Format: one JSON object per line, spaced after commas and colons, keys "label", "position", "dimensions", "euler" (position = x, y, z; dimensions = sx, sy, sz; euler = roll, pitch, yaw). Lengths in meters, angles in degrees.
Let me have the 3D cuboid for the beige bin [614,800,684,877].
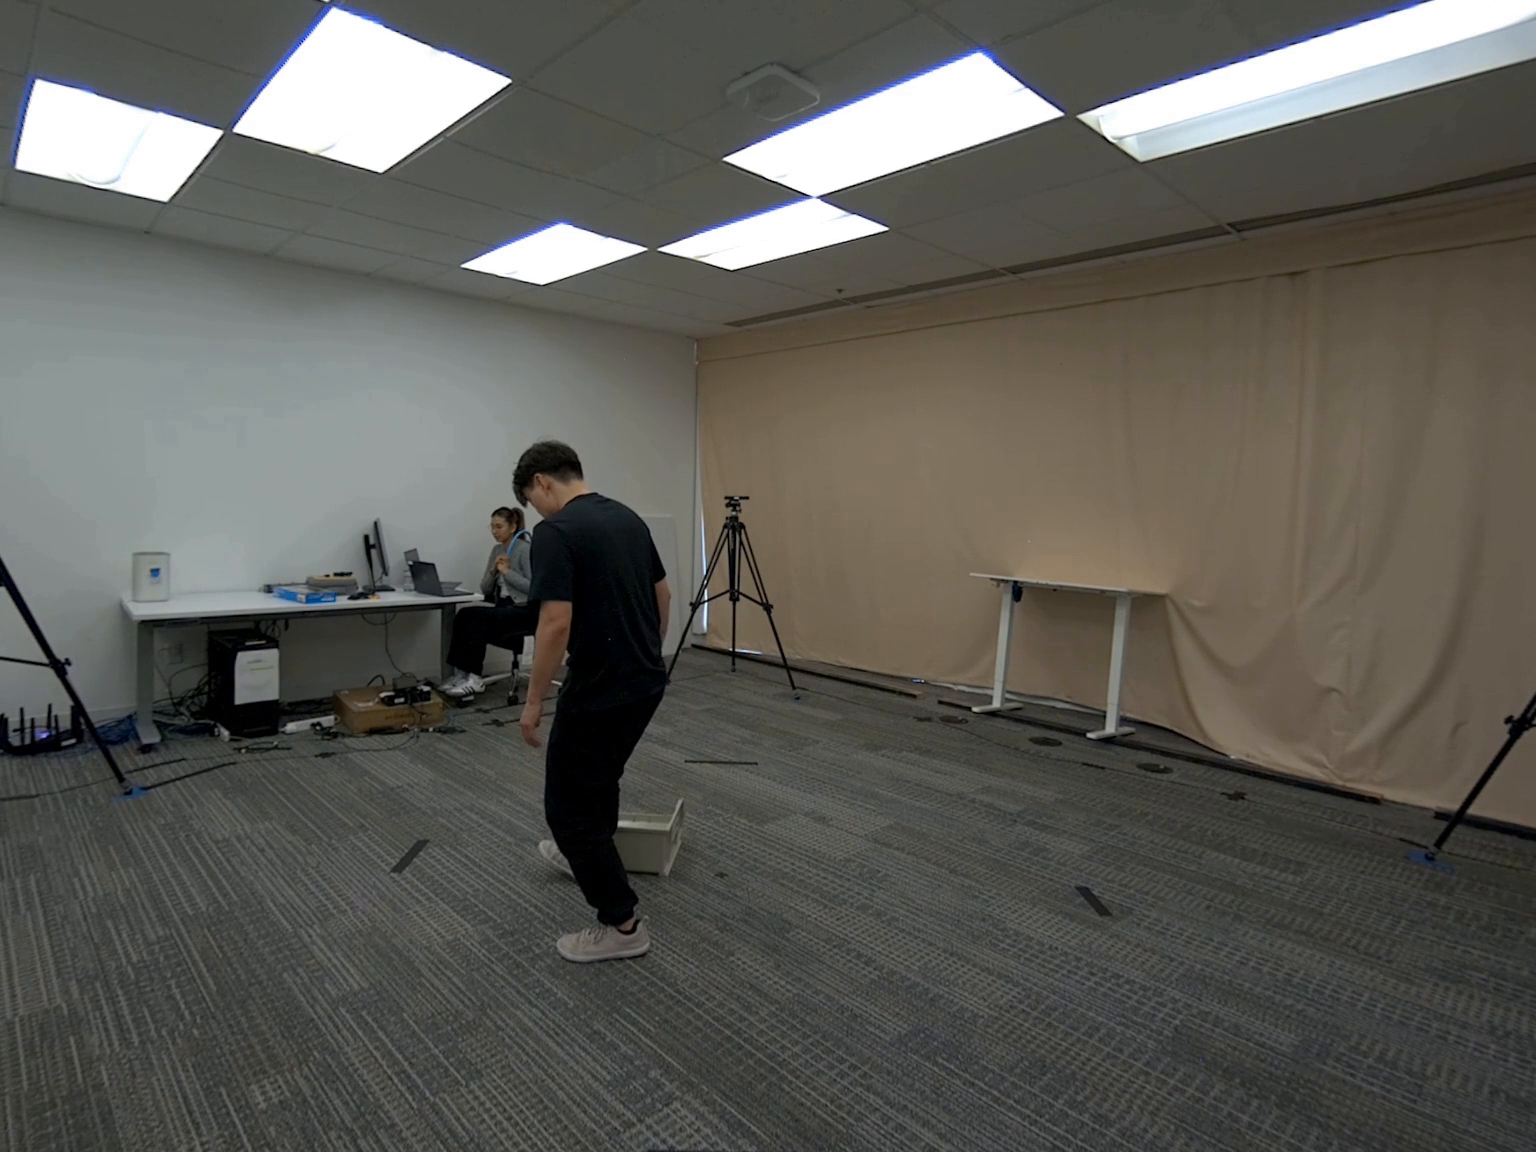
{"label": "beige bin", "position": [-0.568, 0.992, 3.269], "dimensions": [0.424, 0.188, 0.377], "euler": [3, 5, 4]}
